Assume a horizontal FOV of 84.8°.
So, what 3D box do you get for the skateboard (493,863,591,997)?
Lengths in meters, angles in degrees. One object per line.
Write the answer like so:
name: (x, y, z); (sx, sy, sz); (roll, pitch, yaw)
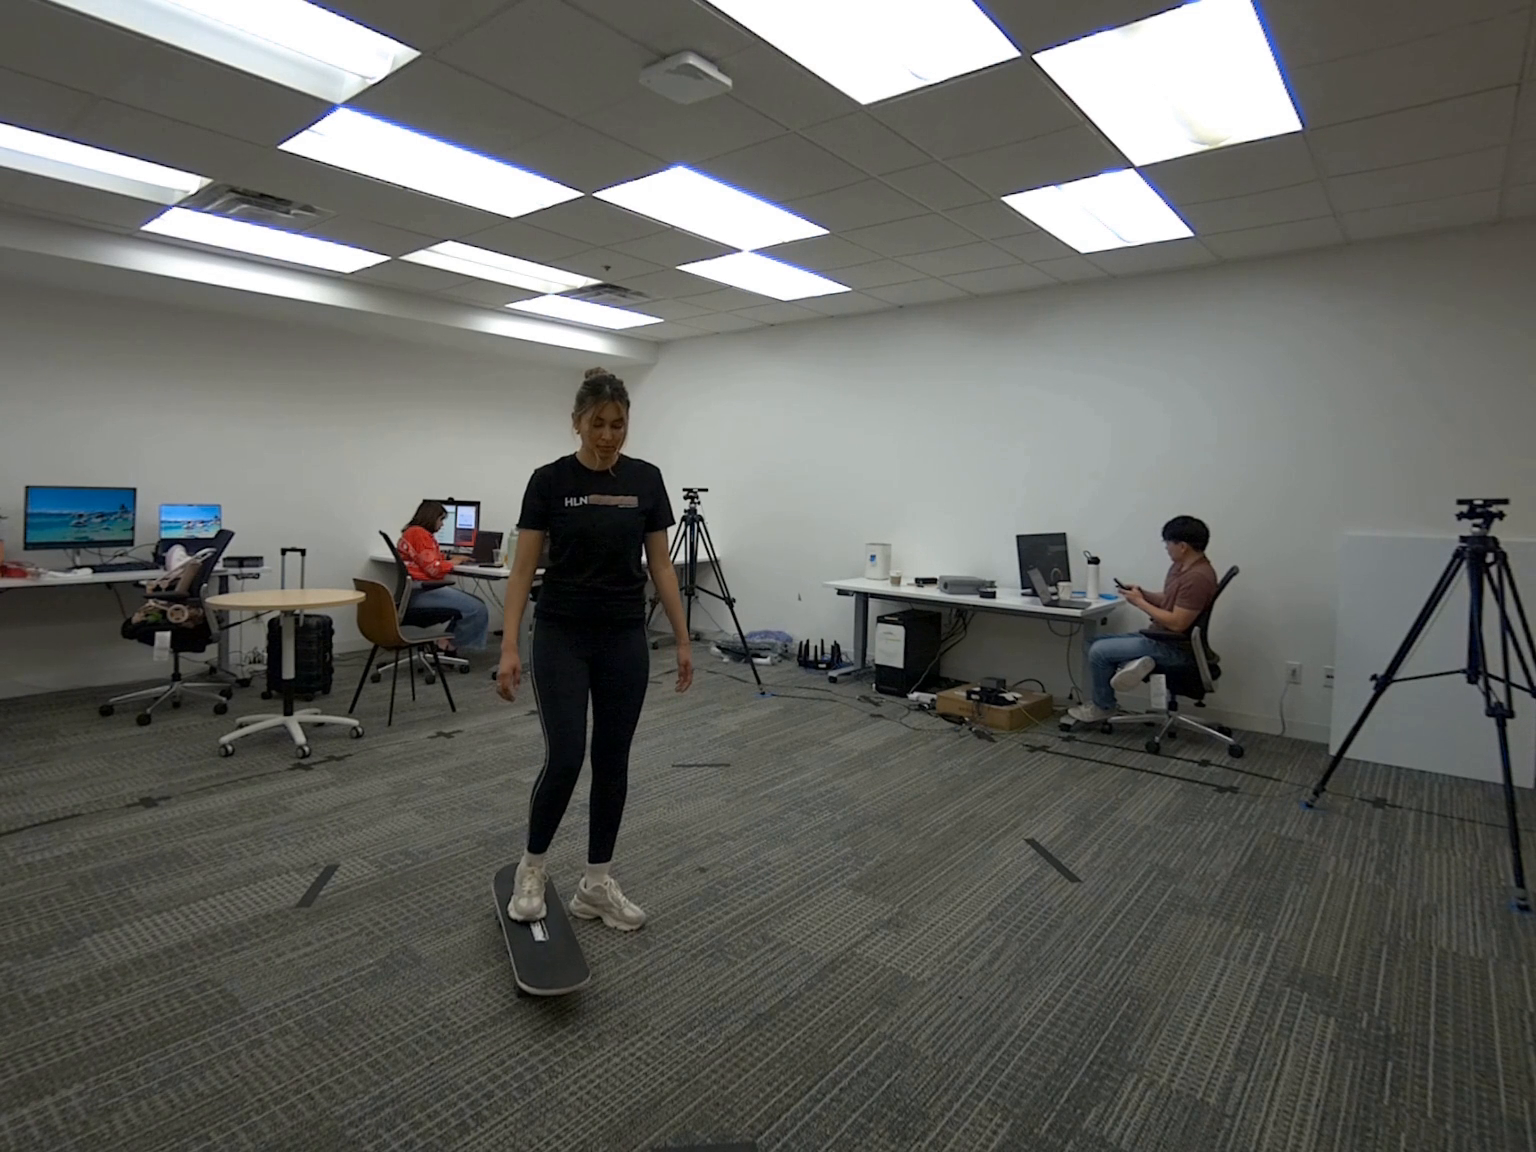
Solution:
skateboard: (-0.690, 1.068, 2.519); (0.189, 0.110, 0.806); (-1, 6, -24)
